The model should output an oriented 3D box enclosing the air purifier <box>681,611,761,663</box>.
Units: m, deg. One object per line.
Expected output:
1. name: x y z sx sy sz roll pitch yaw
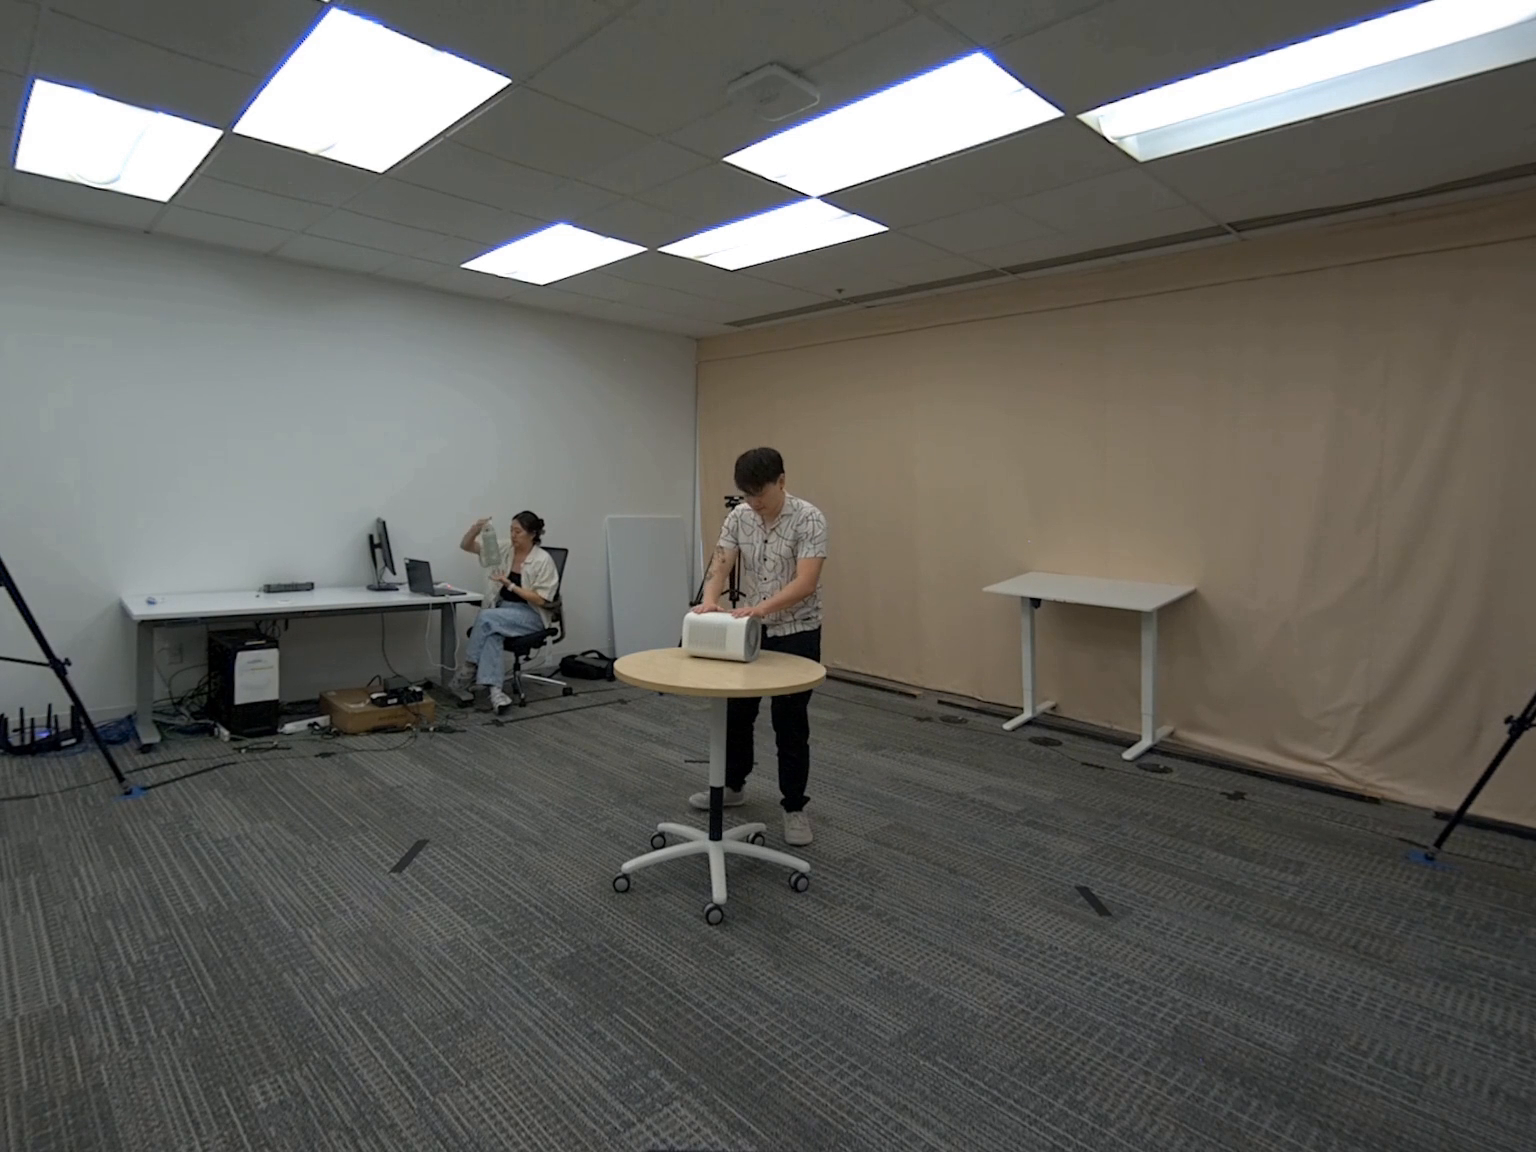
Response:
1. air purifier: -0.185 0.226 3.192 0.270 0.171 0.168 3 1 21
